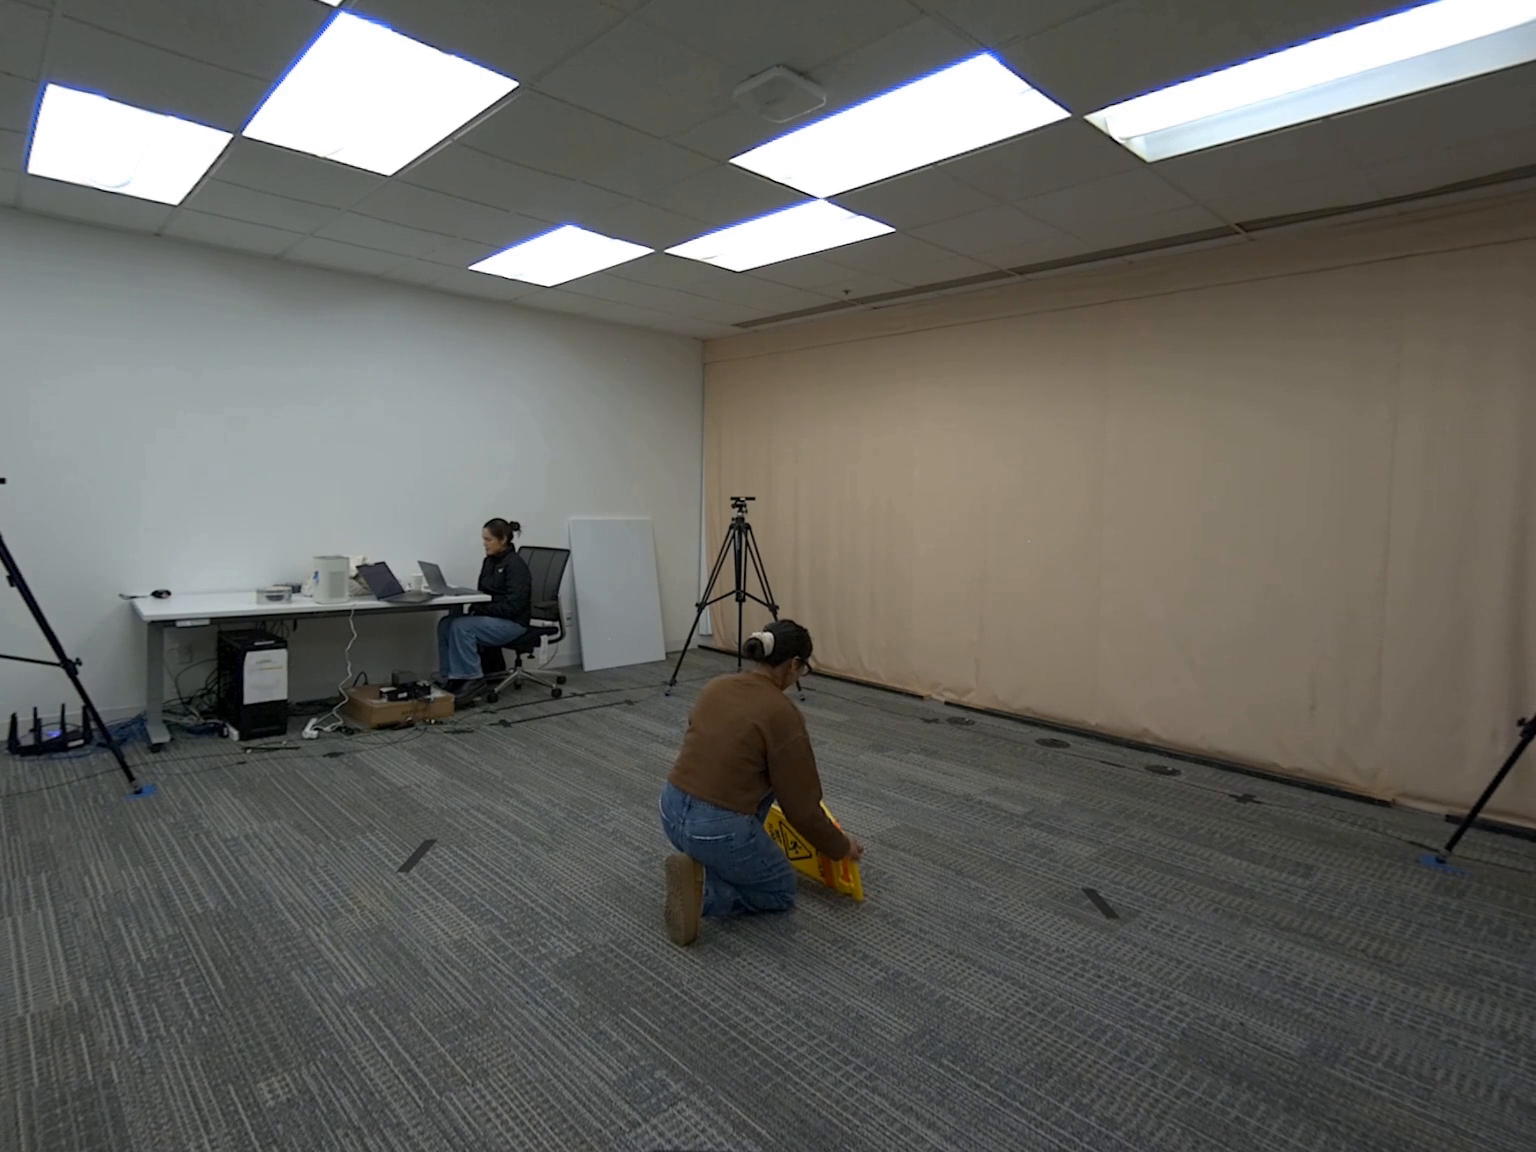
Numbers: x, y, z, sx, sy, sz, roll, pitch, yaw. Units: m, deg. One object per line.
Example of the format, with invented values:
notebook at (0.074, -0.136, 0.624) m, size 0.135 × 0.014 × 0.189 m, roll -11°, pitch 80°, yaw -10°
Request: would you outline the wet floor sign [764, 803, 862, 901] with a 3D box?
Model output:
wet floor sign at (0.148, 0.978, 3.166) m, size 0.286 × 0.278 × 0.662 m, roll -19°, pitch 18°, yaw -23°
